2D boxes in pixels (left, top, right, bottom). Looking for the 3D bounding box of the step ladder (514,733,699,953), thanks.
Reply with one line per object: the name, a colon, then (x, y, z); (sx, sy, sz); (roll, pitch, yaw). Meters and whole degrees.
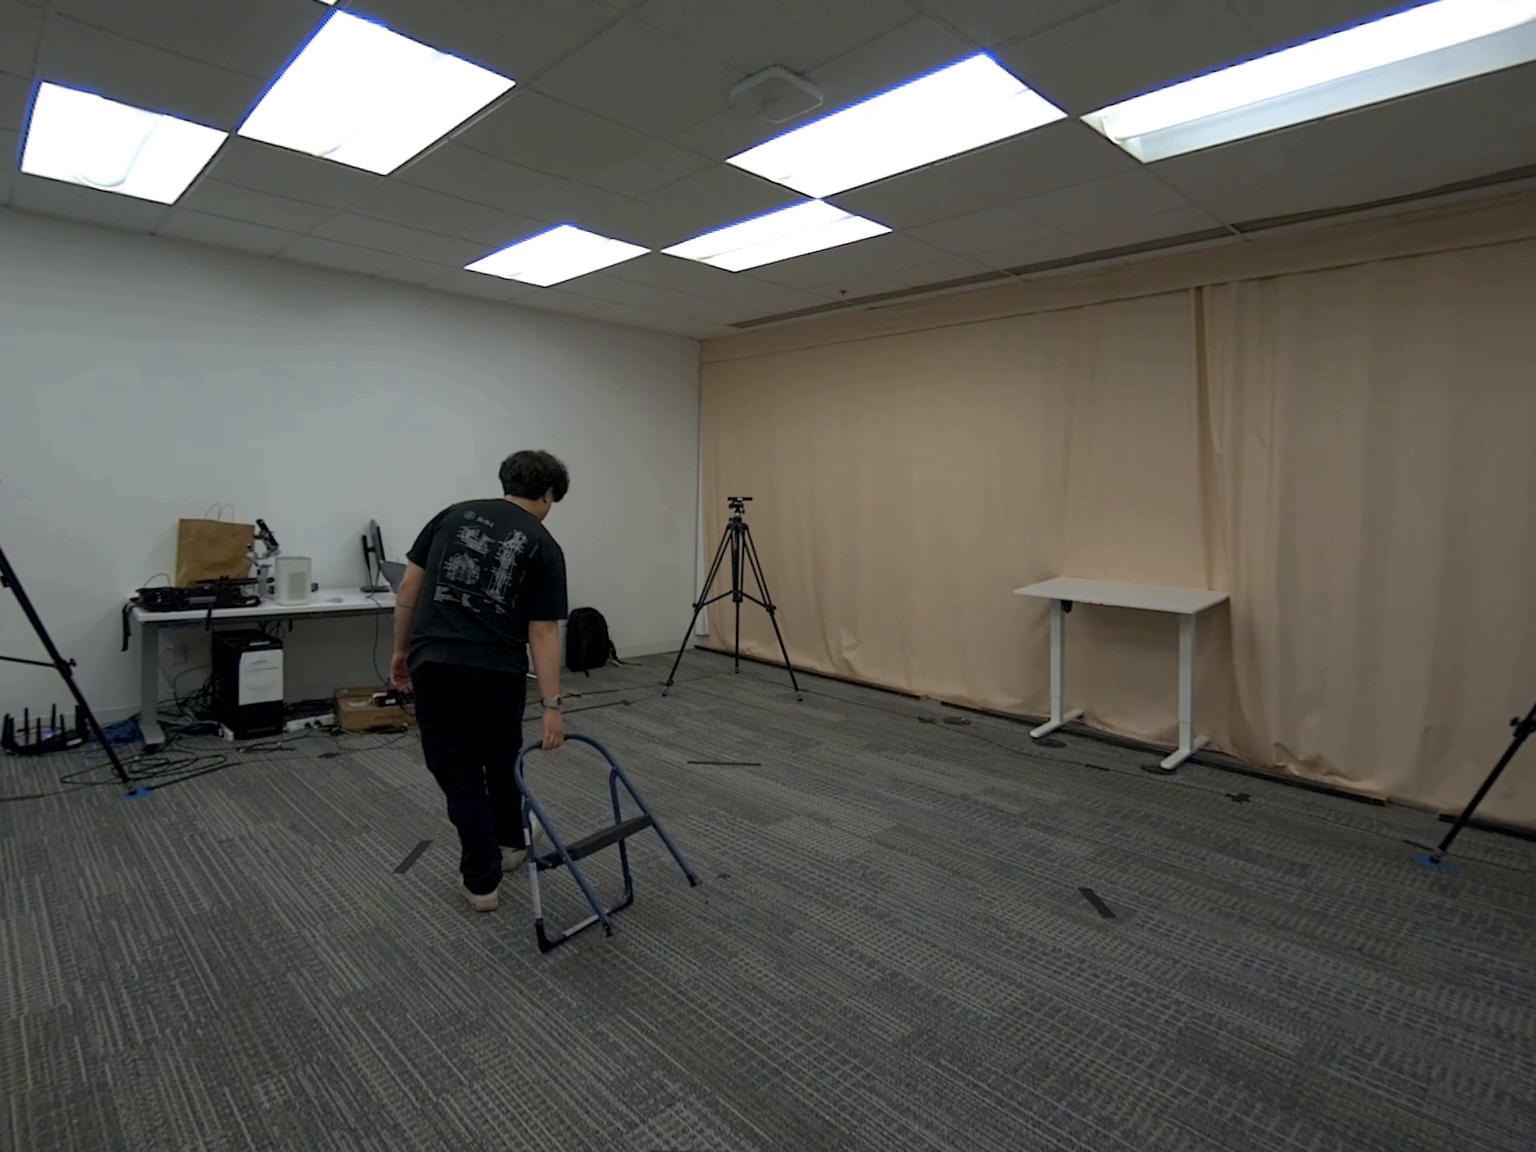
step ladder: (-0.567, 0.799, 2.691); (0.352, 0.614, 0.421); (-29, -14, 31)
